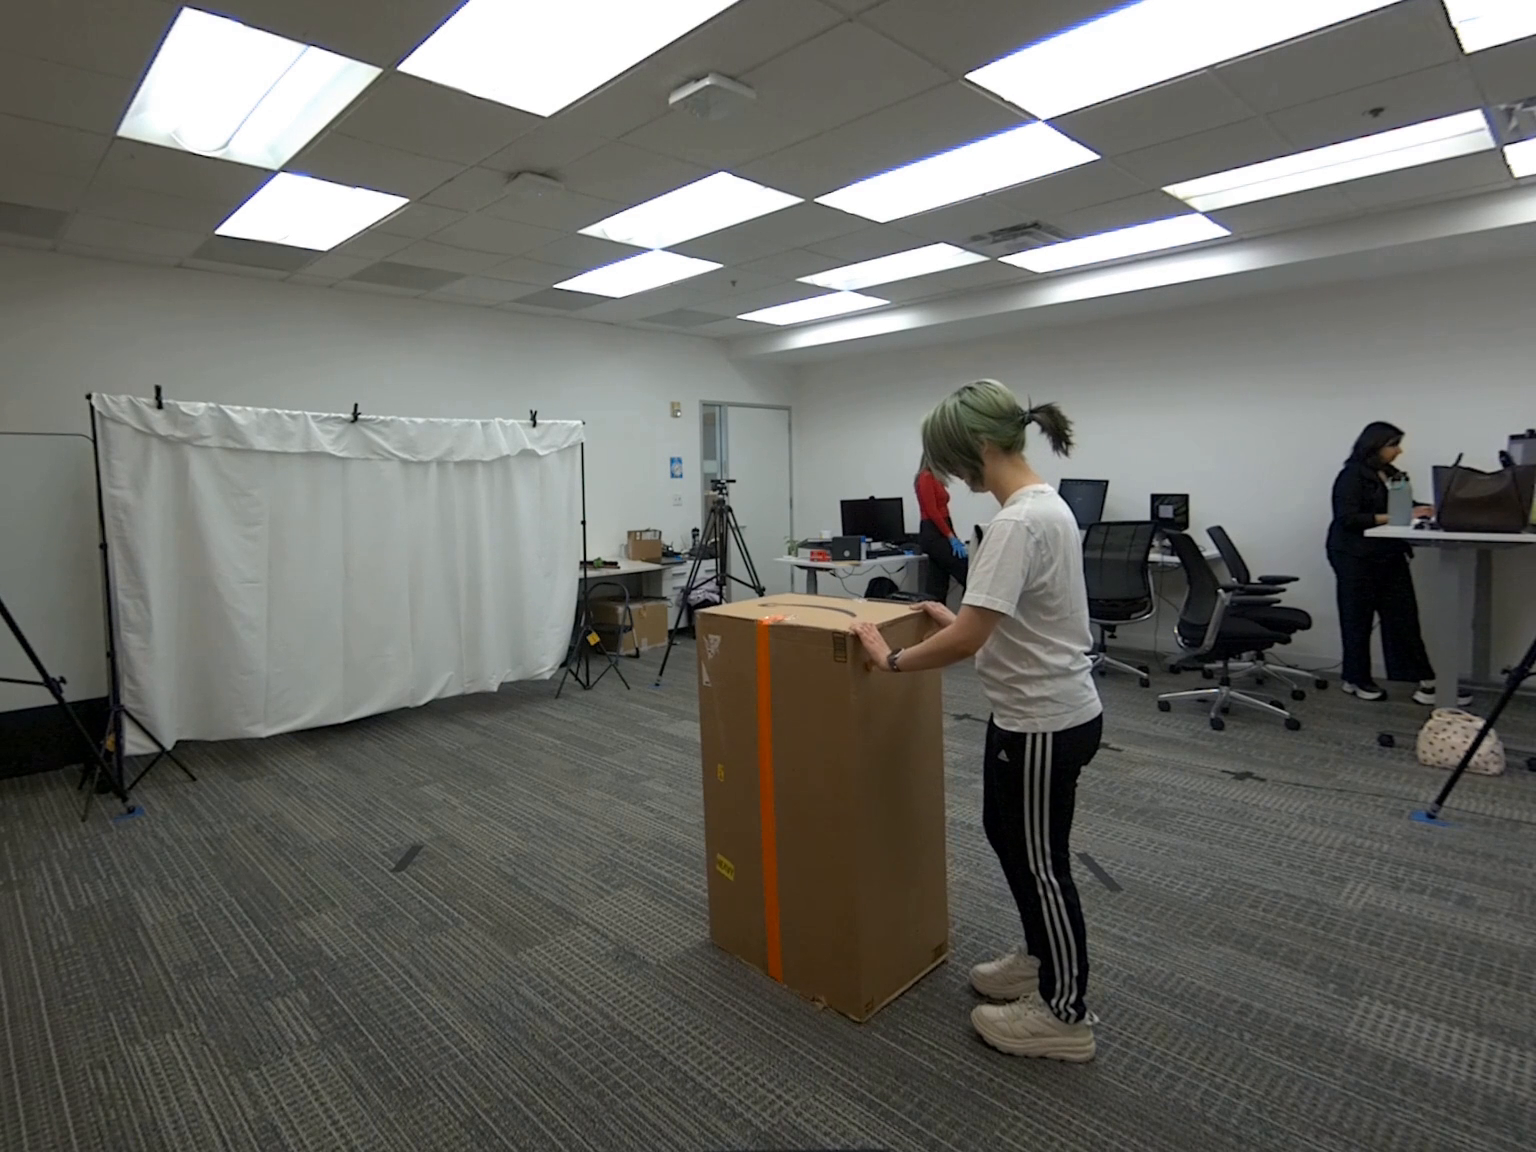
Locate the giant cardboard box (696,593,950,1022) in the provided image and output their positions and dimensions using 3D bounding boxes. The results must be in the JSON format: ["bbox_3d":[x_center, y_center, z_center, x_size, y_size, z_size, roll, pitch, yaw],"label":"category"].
[{"bbox_3d":[0.152,0.603,2.495,0.601,1.023,0.435,2,6,44],"label":"giant cardboard box"}]
